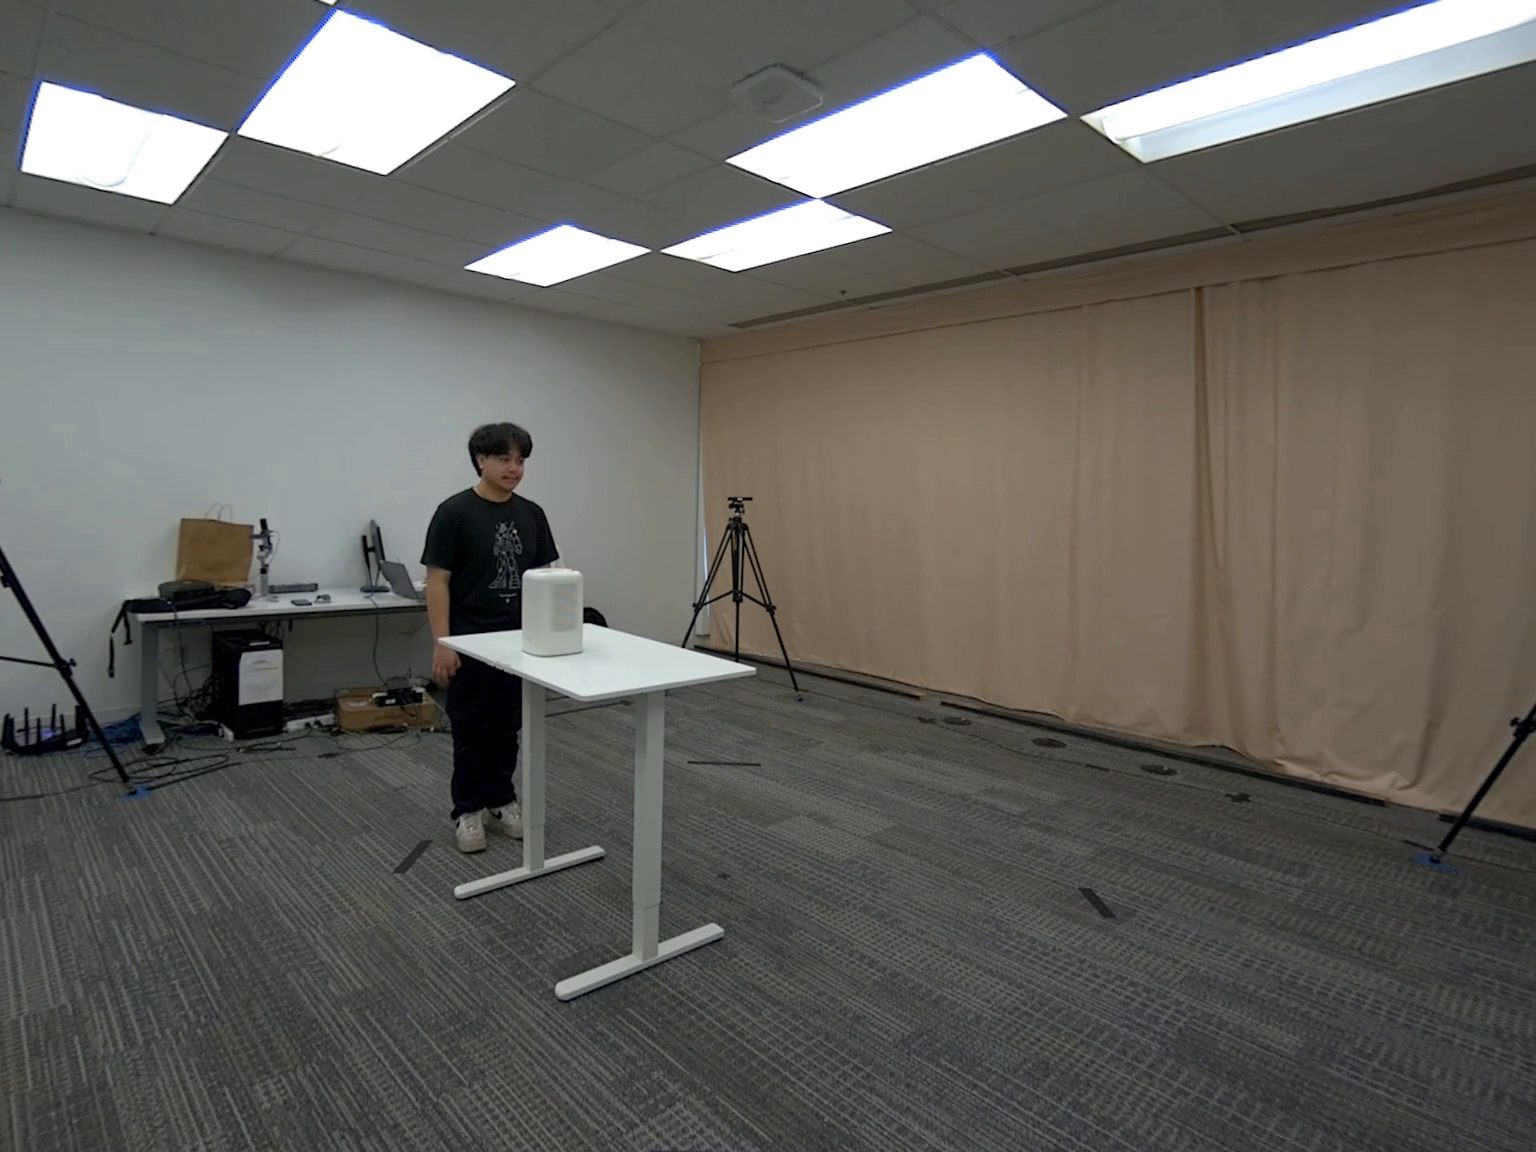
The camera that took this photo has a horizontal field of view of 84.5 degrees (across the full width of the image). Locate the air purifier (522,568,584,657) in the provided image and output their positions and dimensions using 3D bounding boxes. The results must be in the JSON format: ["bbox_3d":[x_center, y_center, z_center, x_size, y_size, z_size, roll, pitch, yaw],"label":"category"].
[{"bbox_3d":[-0.703,0.114,2.719,0.168,0.264,0.175,-2,5,-40],"label":"air purifier"}]
